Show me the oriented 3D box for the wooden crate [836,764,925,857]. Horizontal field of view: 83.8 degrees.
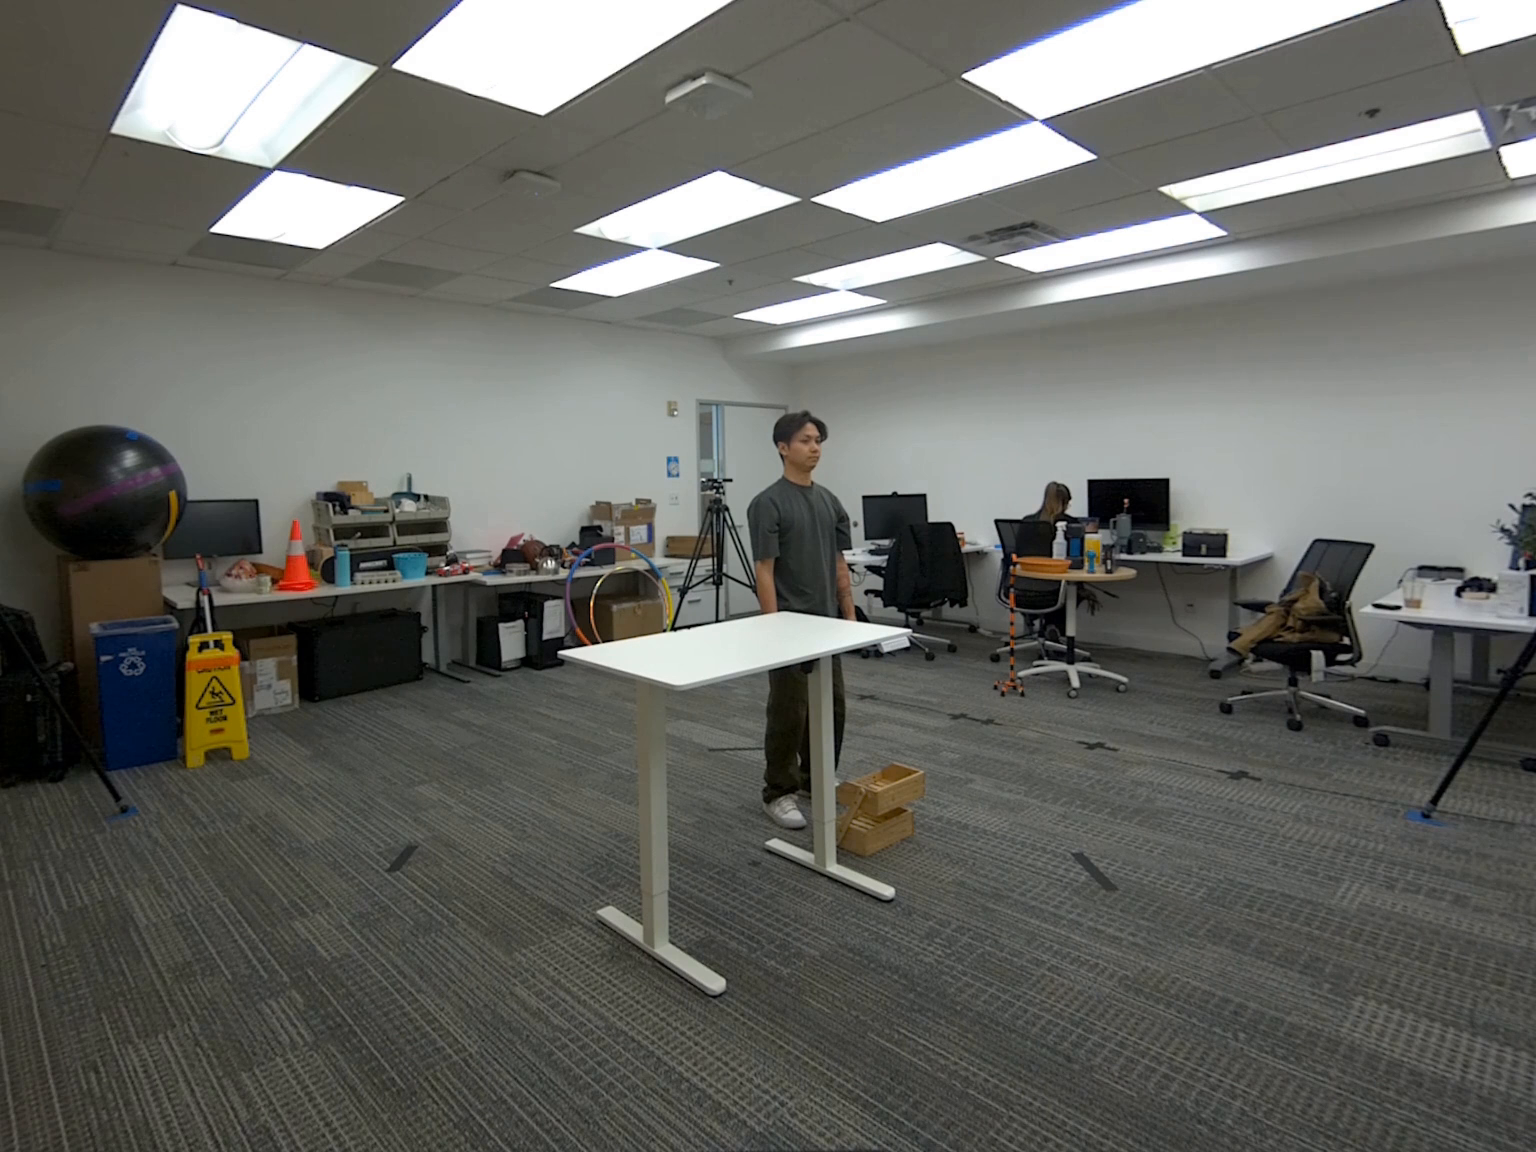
[{"bbox_3d":[0.392,0.878,3.311,0.316,0.272,0.311,-5,7,-43],"label":"wooden crate"}]
